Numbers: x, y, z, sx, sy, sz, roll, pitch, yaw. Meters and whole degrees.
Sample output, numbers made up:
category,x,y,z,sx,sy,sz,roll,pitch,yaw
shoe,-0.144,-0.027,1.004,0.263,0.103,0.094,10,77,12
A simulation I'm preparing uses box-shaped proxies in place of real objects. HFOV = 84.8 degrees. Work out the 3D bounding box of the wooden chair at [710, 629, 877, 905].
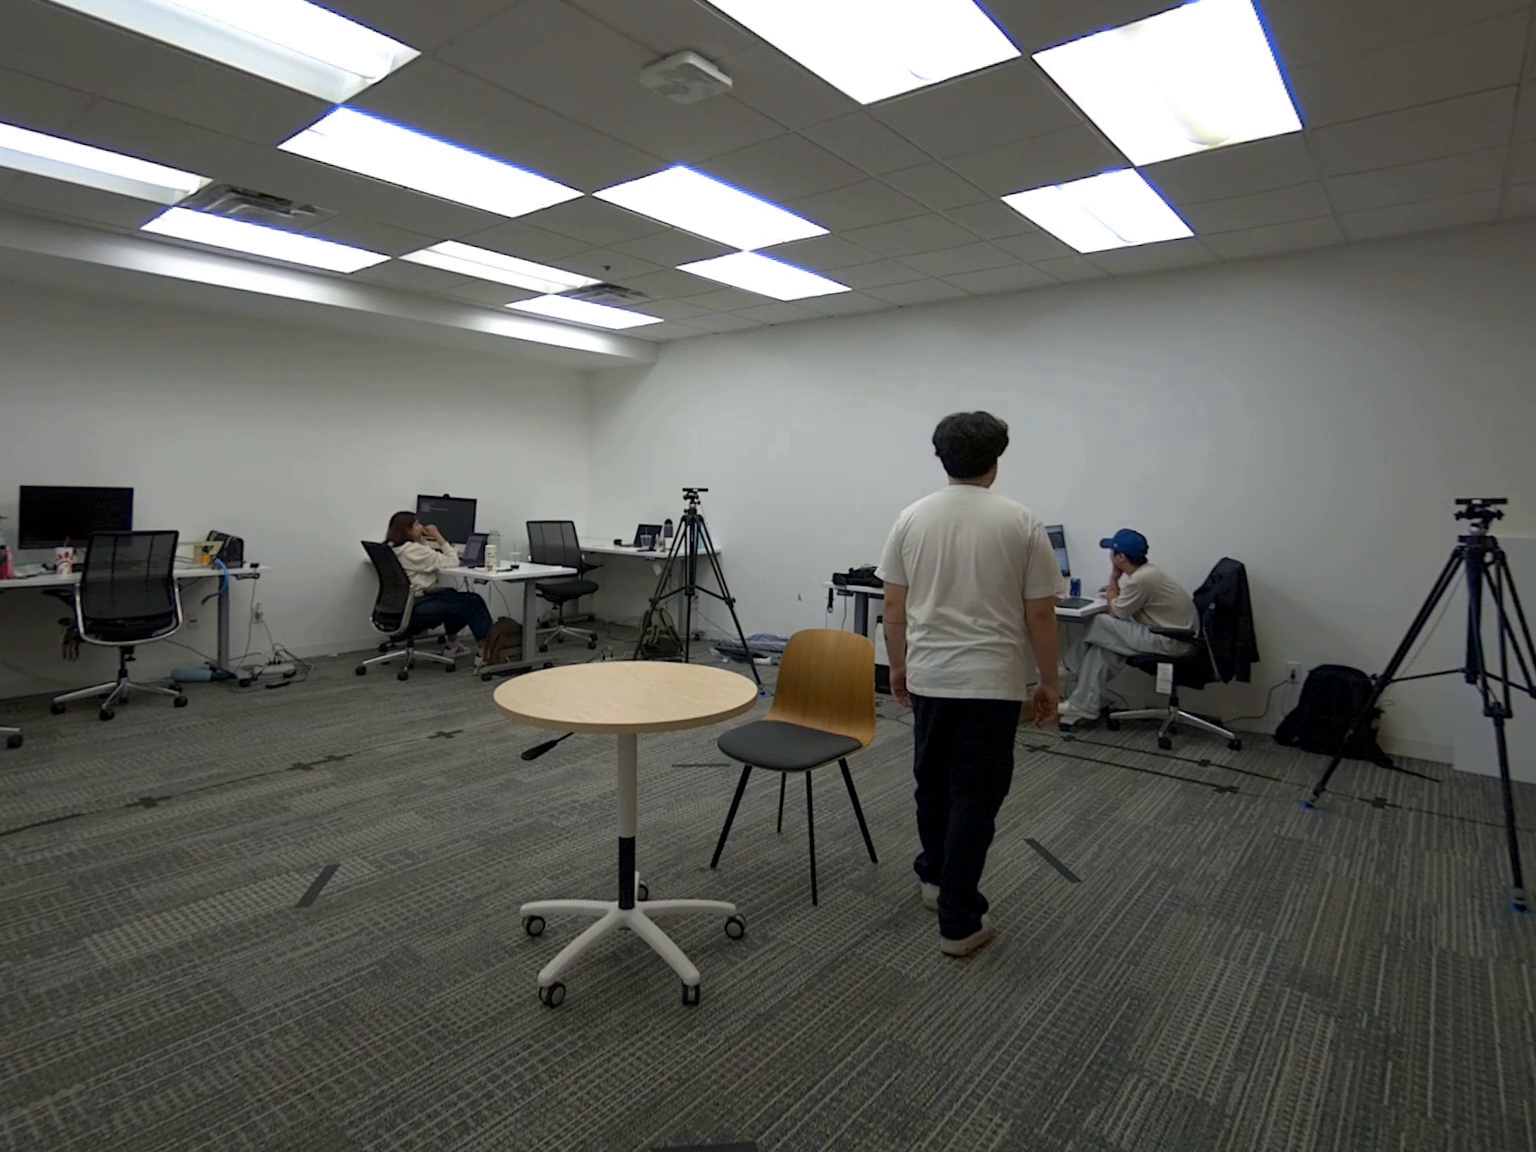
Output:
category,x,y,z,sx,sy,sz,roll,pitch,yaw
wooden chair,0.098,0.645,3.132,0.494,0.878,0.506,4,0,36
